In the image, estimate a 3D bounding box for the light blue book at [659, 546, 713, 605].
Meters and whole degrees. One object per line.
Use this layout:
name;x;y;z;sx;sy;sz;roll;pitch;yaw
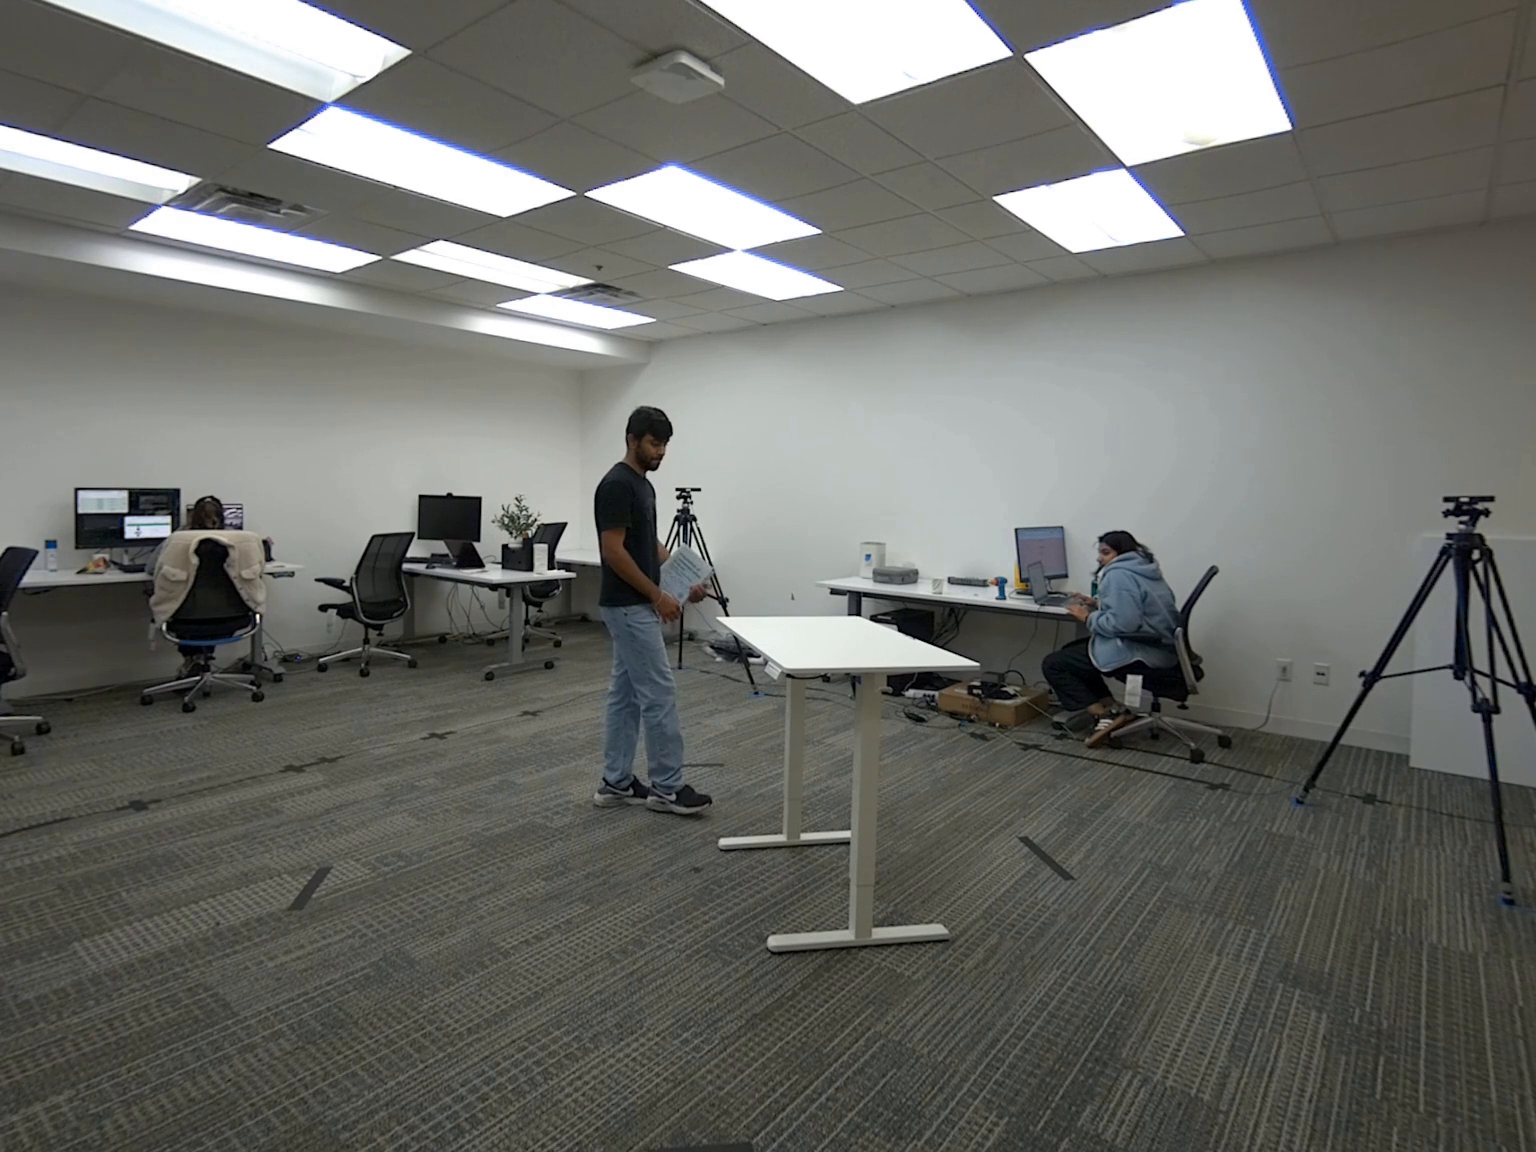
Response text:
light blue book;-0.423;0.008;3.870;0.192;0.261;0.059;43;-12;1
